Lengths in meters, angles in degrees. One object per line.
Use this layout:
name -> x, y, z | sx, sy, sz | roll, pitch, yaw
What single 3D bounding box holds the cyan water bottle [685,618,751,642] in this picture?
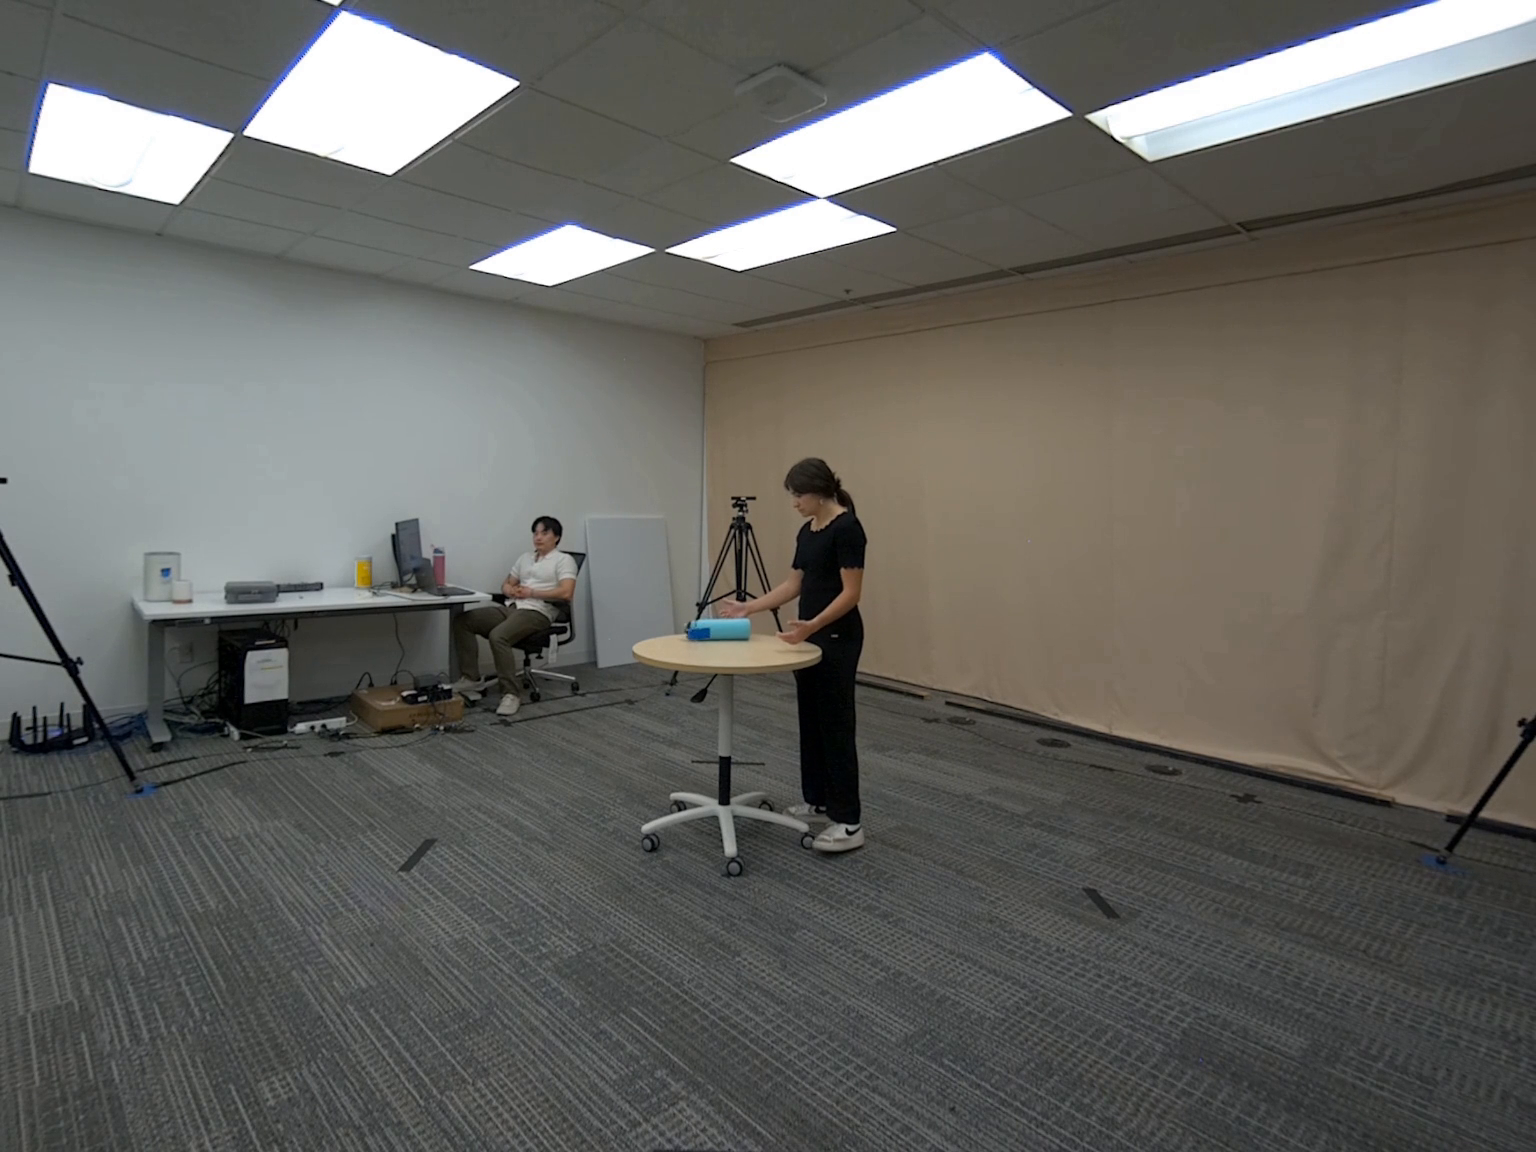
cyan water bottle -> -0.232, 0.230, 3.608 | 0.281, 0.092, 0.093 | 0, 4, -8
